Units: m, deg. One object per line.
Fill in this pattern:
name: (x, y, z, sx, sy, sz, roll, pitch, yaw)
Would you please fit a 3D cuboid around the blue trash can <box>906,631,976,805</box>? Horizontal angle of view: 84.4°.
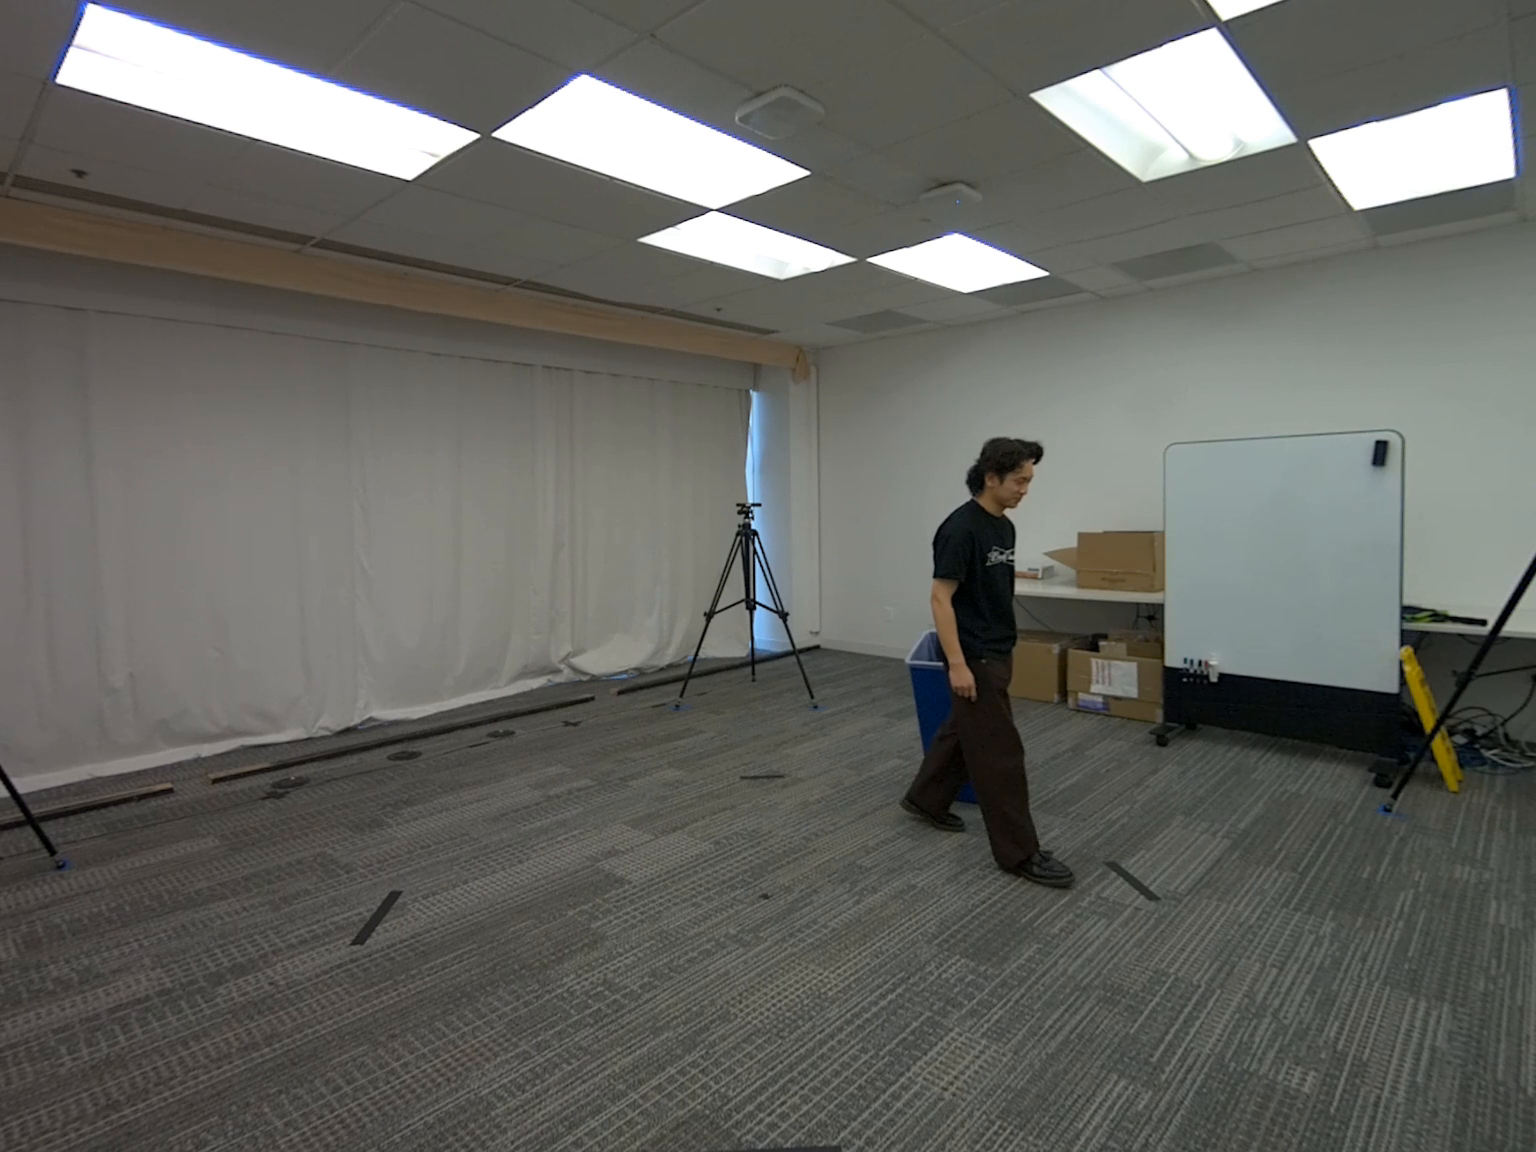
blue trash can: (0.904, 0.660, 3.898, 0.388, 0.705, 0.368, -1, 17, 29)
